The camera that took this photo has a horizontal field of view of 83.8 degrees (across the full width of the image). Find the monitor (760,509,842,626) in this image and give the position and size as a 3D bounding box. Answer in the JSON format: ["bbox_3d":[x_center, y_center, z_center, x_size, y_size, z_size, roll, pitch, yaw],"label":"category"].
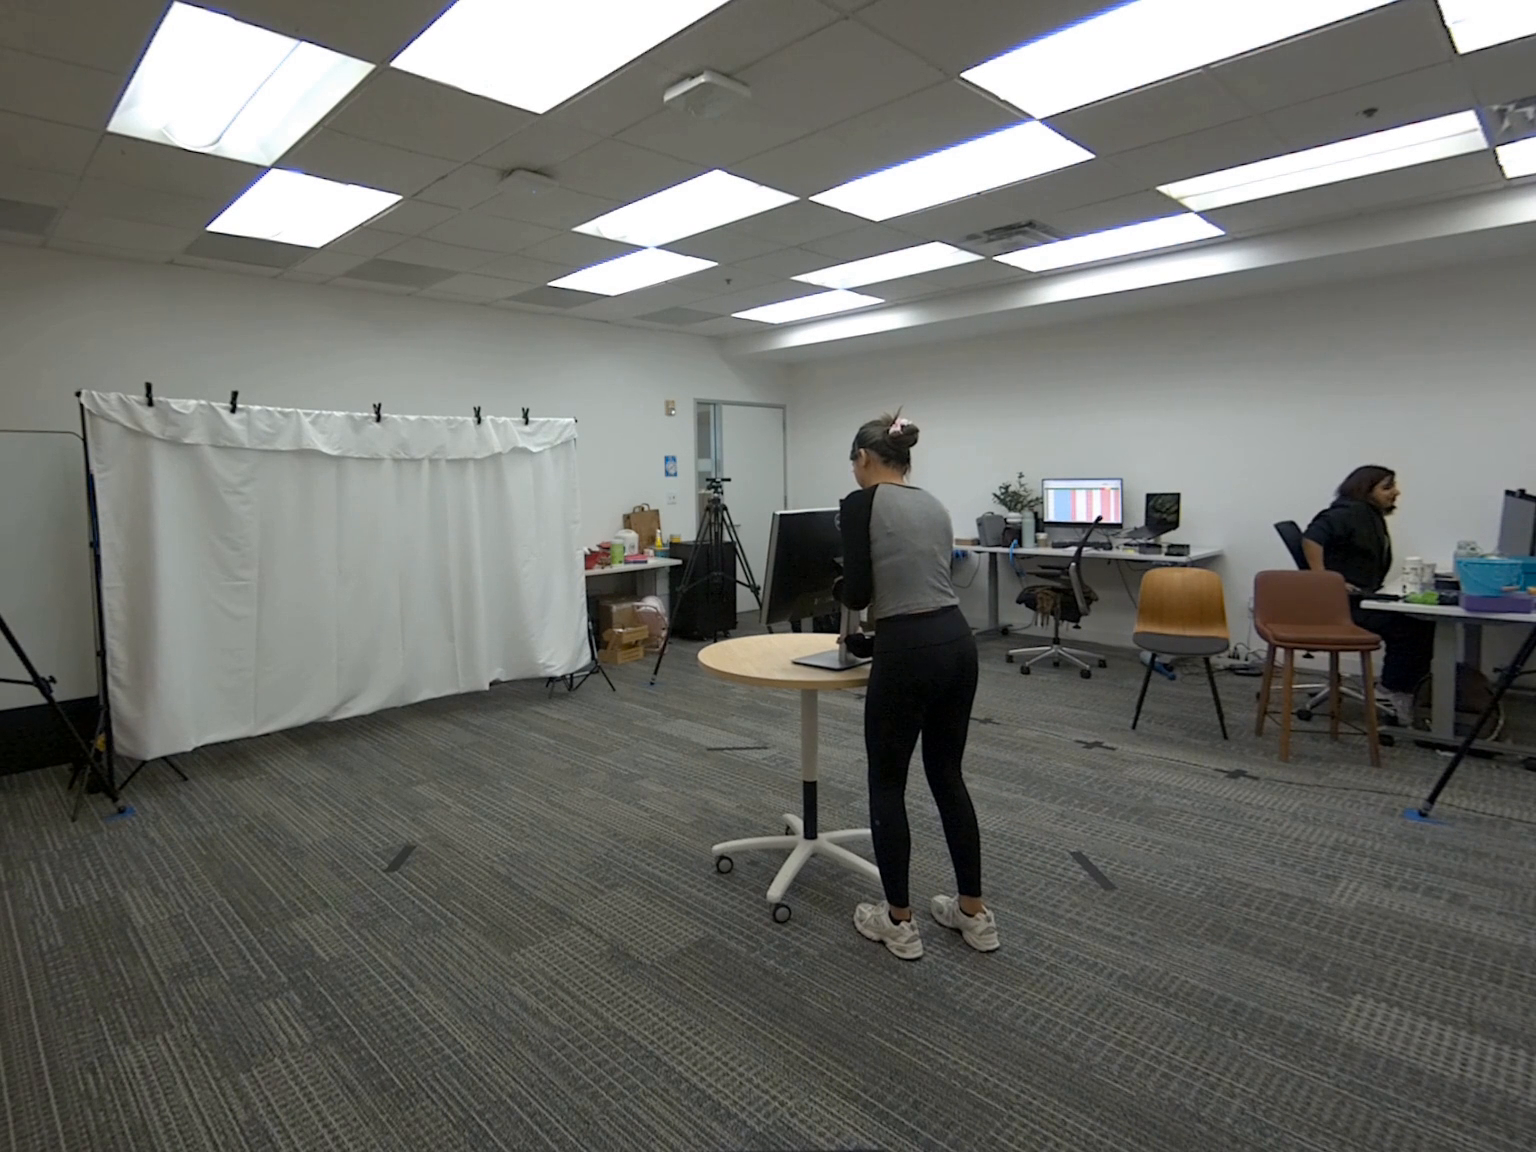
[{"bbox_3d":[0.231,0.039,2.798,0.192,0.521,0.525,0,4,43],"label":"monitor"}]
